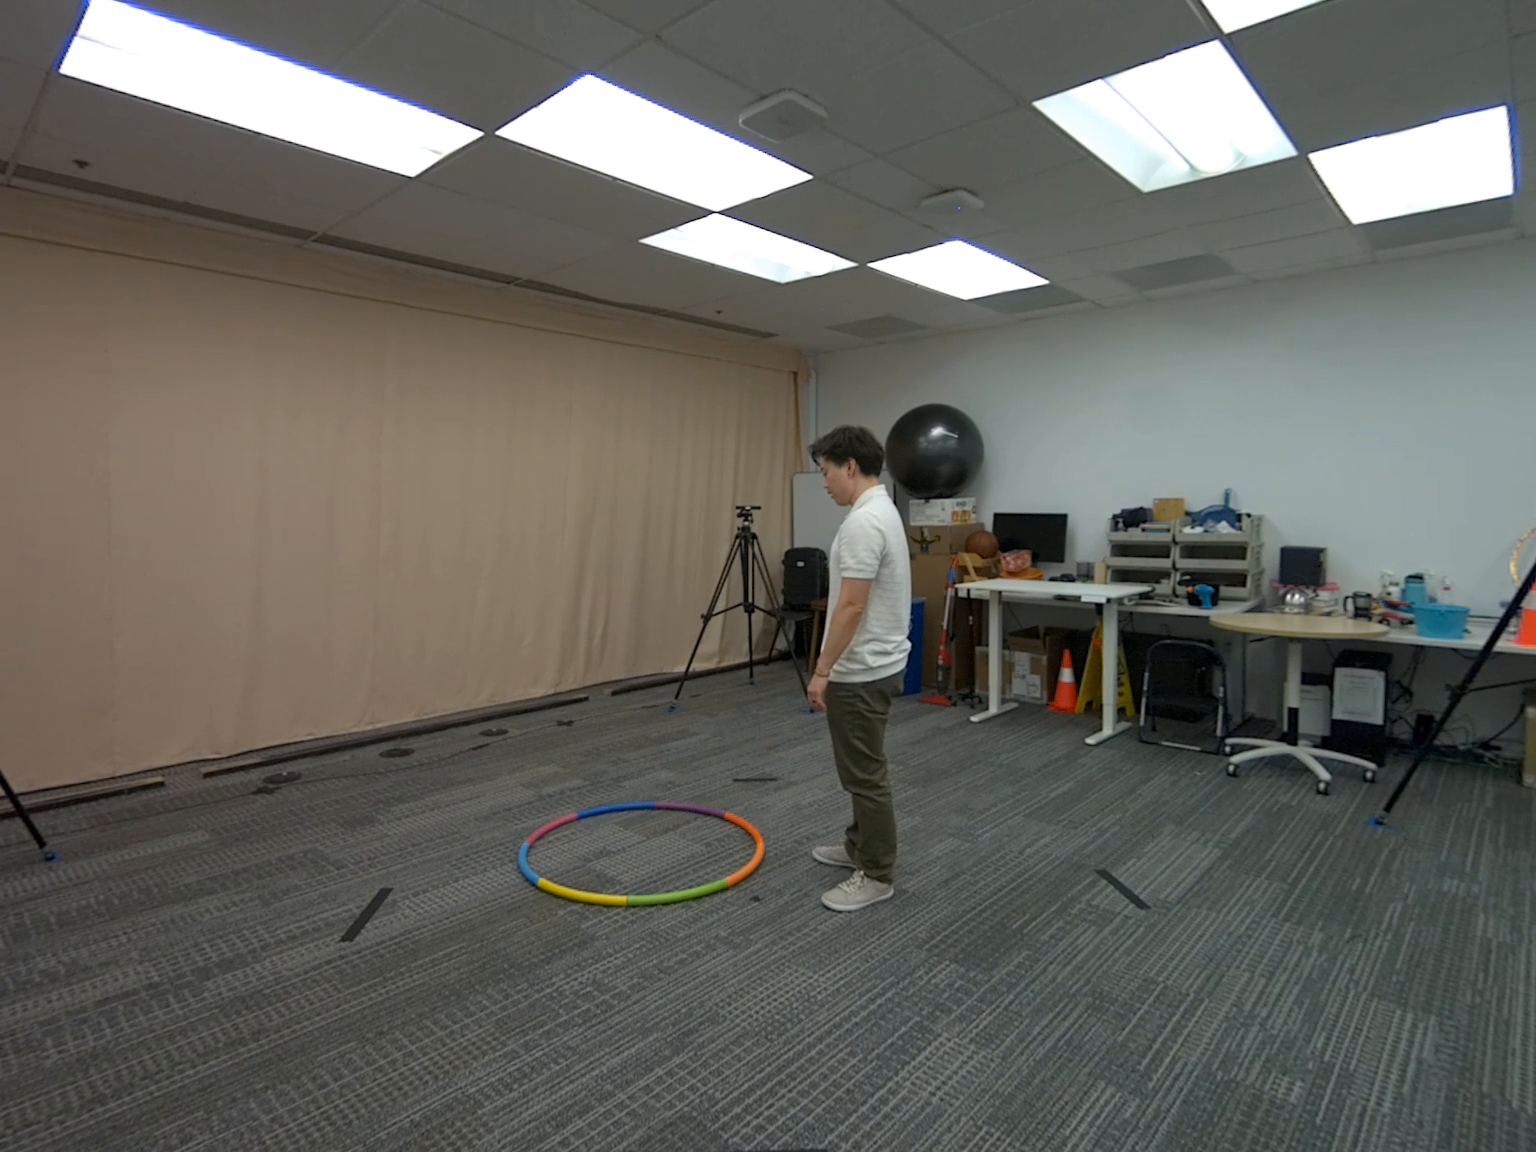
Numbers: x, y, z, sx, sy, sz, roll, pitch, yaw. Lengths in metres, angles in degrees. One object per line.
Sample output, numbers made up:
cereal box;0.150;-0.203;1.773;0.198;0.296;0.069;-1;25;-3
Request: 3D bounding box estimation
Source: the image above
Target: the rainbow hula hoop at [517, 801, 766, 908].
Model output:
rainbow hula hoop;-0.503;1.081;3.402;0.978;0.035;0.982;-1;4;-2
